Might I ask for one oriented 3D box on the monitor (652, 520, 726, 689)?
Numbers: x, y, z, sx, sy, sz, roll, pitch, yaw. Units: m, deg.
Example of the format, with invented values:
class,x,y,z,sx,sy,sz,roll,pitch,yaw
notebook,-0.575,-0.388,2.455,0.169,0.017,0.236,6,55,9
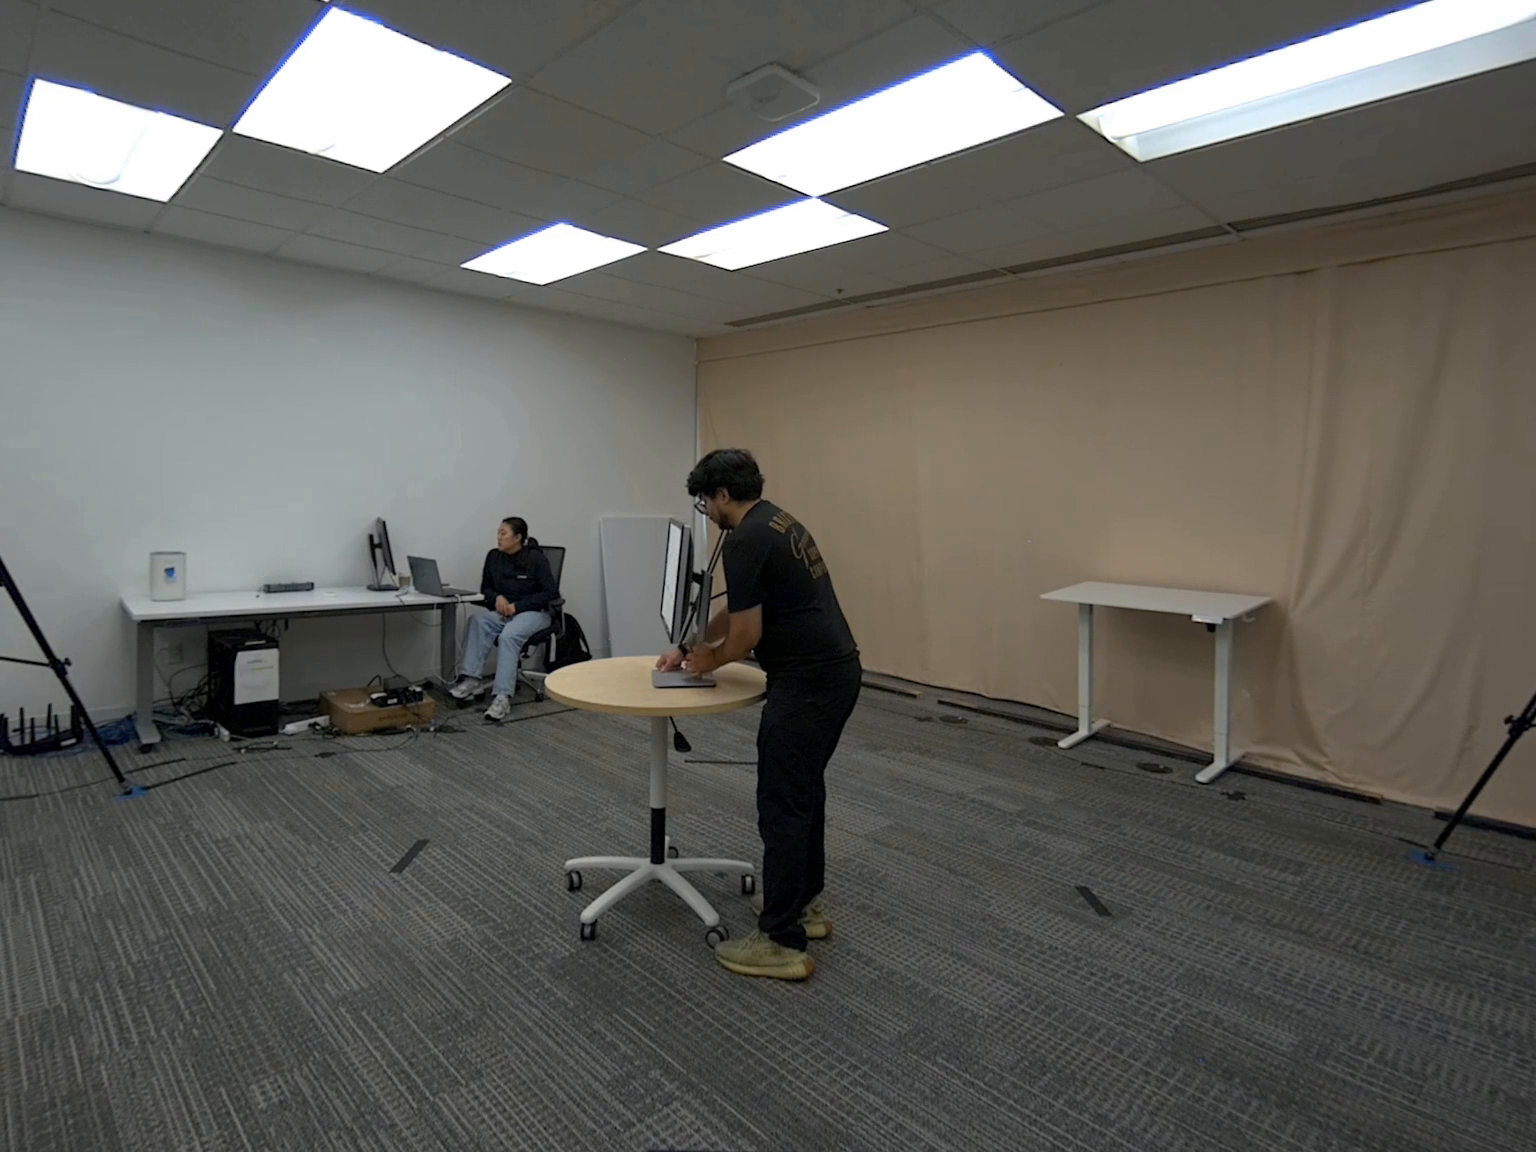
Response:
class,x,y,z,sx,sy,sz,roll,pitch,yaw
monitor,-0.258,0.090,2.820,0.208,0.552,0.572,3,5,-11
